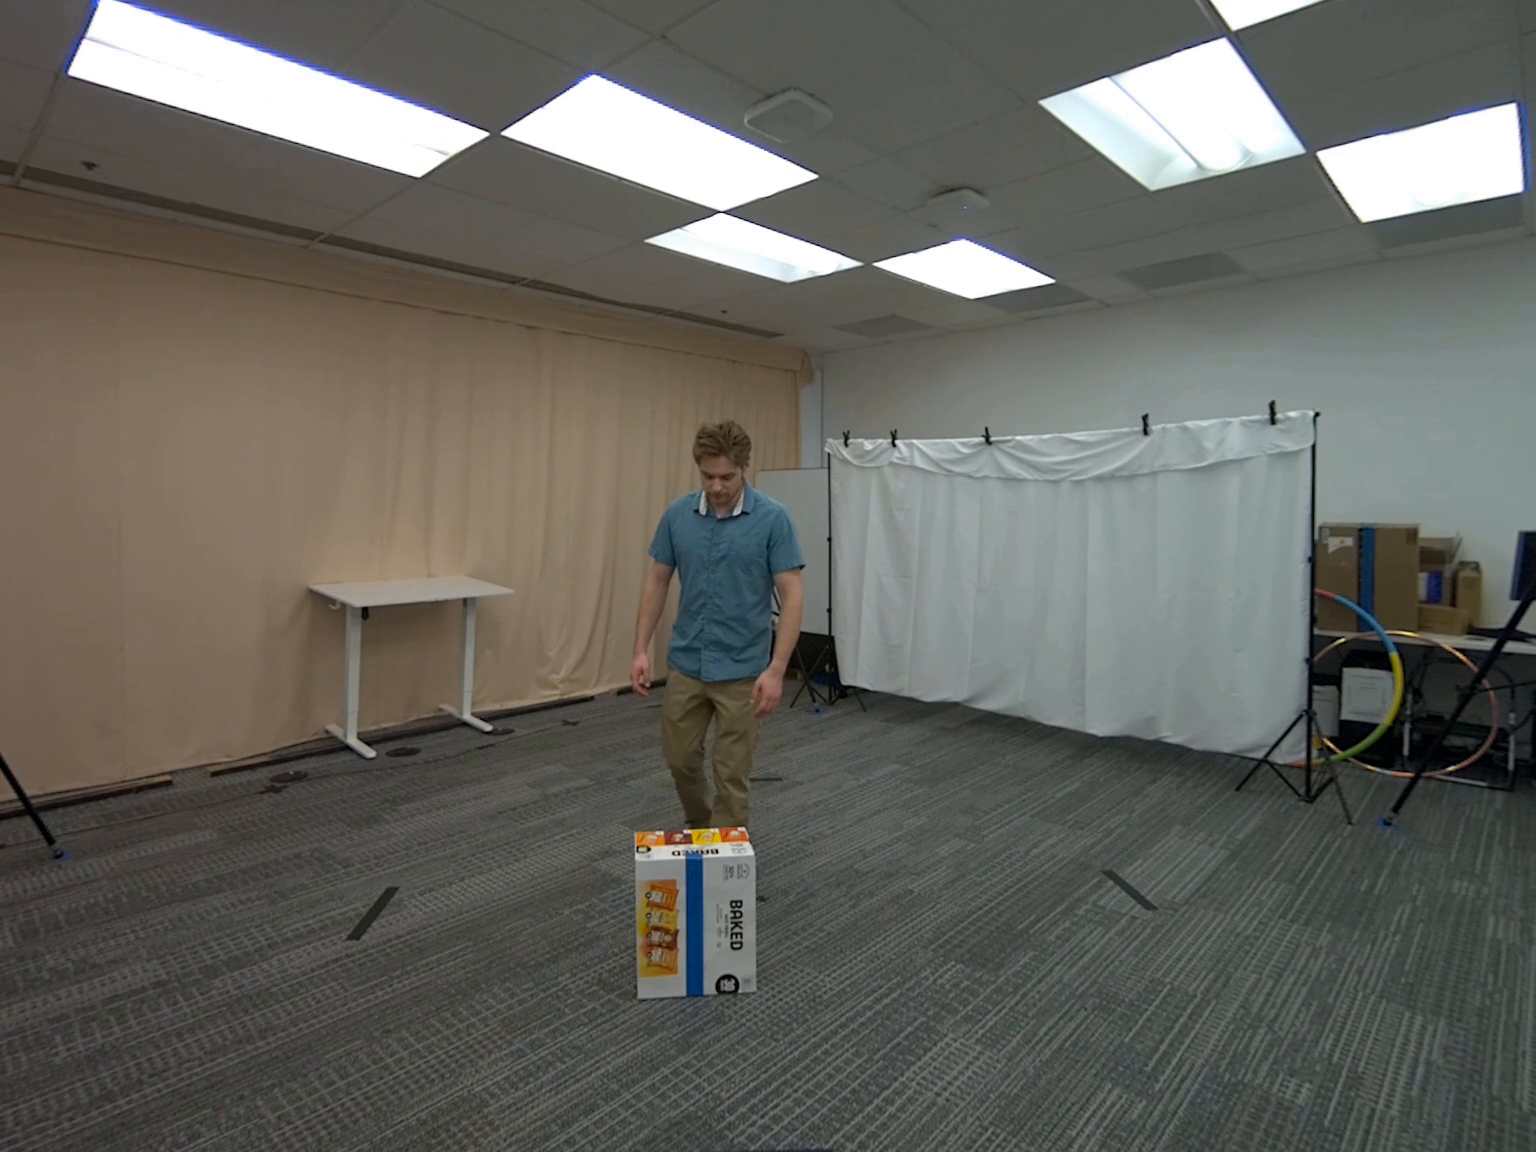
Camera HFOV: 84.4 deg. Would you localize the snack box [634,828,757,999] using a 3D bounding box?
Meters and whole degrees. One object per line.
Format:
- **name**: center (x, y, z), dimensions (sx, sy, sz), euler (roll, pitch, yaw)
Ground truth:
- **snack box**: center (-0.215, 0.984, 2.484), dimensions (0.338, 0.404, 0.207), euler (-1, 4, -6)
